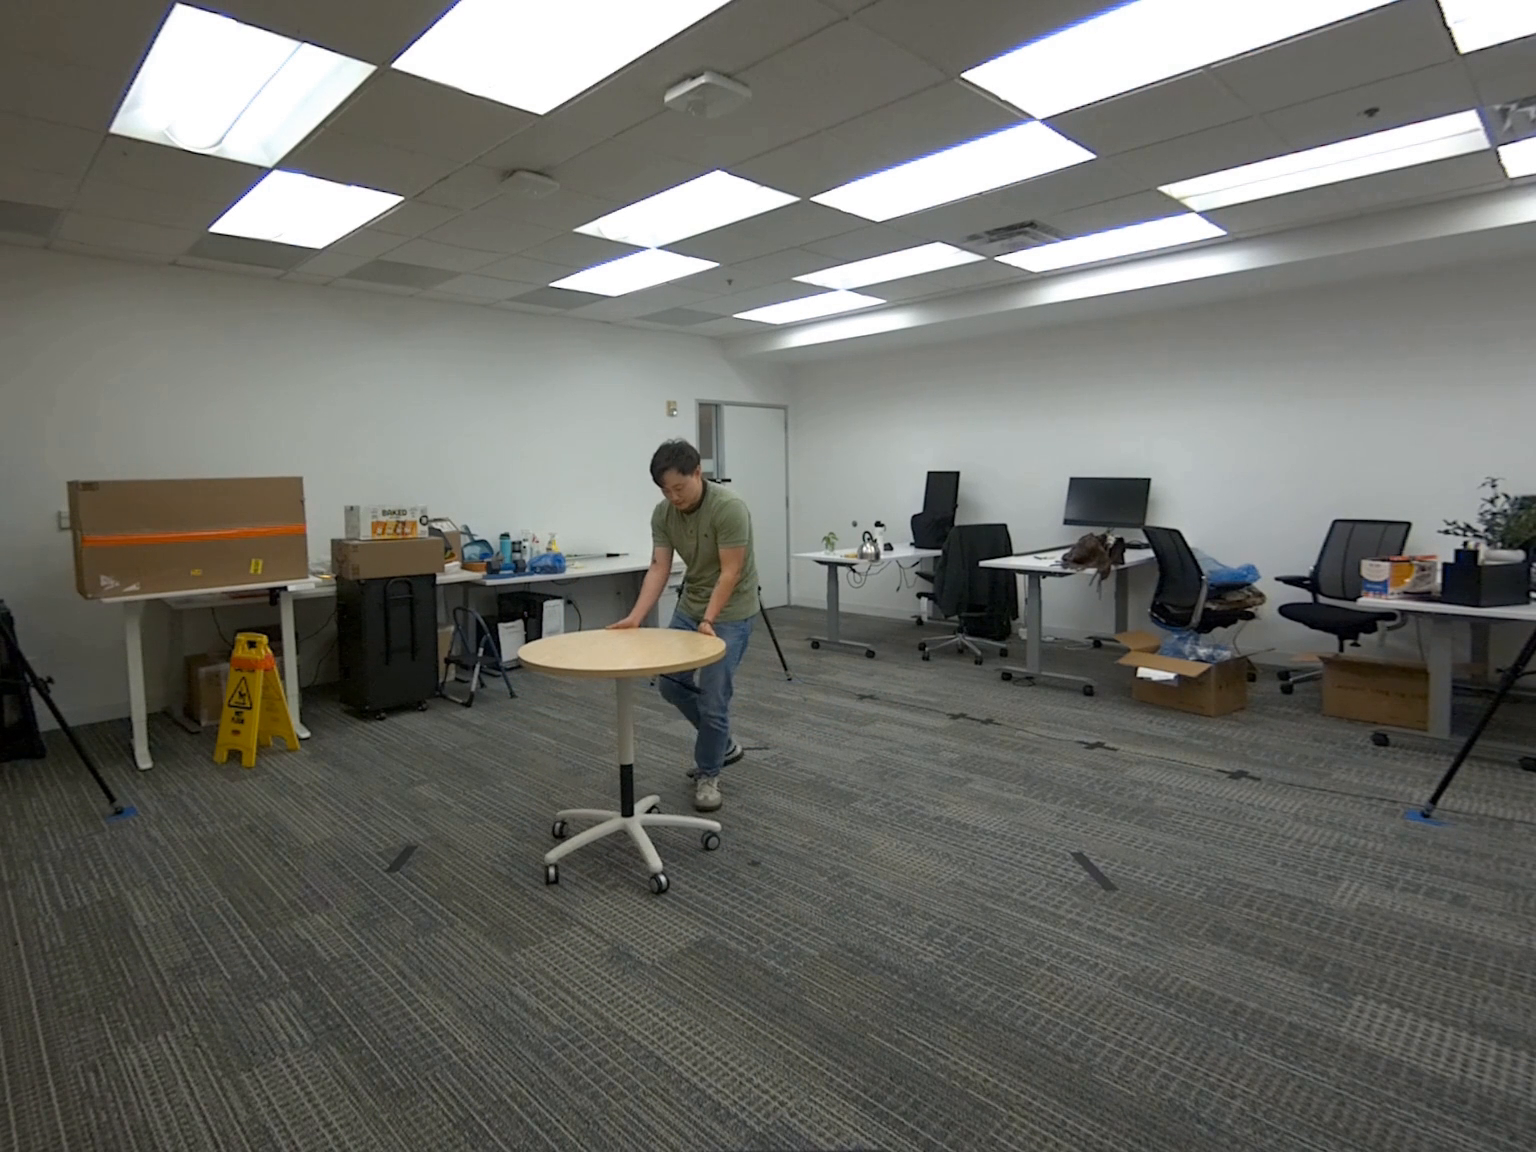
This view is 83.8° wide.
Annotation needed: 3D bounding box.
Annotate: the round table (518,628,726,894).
[{"bbox_3d":[-0.536,0.654,3.190,0.763,0.791,0.768,-1,5,-2],"label":"round table"}]
